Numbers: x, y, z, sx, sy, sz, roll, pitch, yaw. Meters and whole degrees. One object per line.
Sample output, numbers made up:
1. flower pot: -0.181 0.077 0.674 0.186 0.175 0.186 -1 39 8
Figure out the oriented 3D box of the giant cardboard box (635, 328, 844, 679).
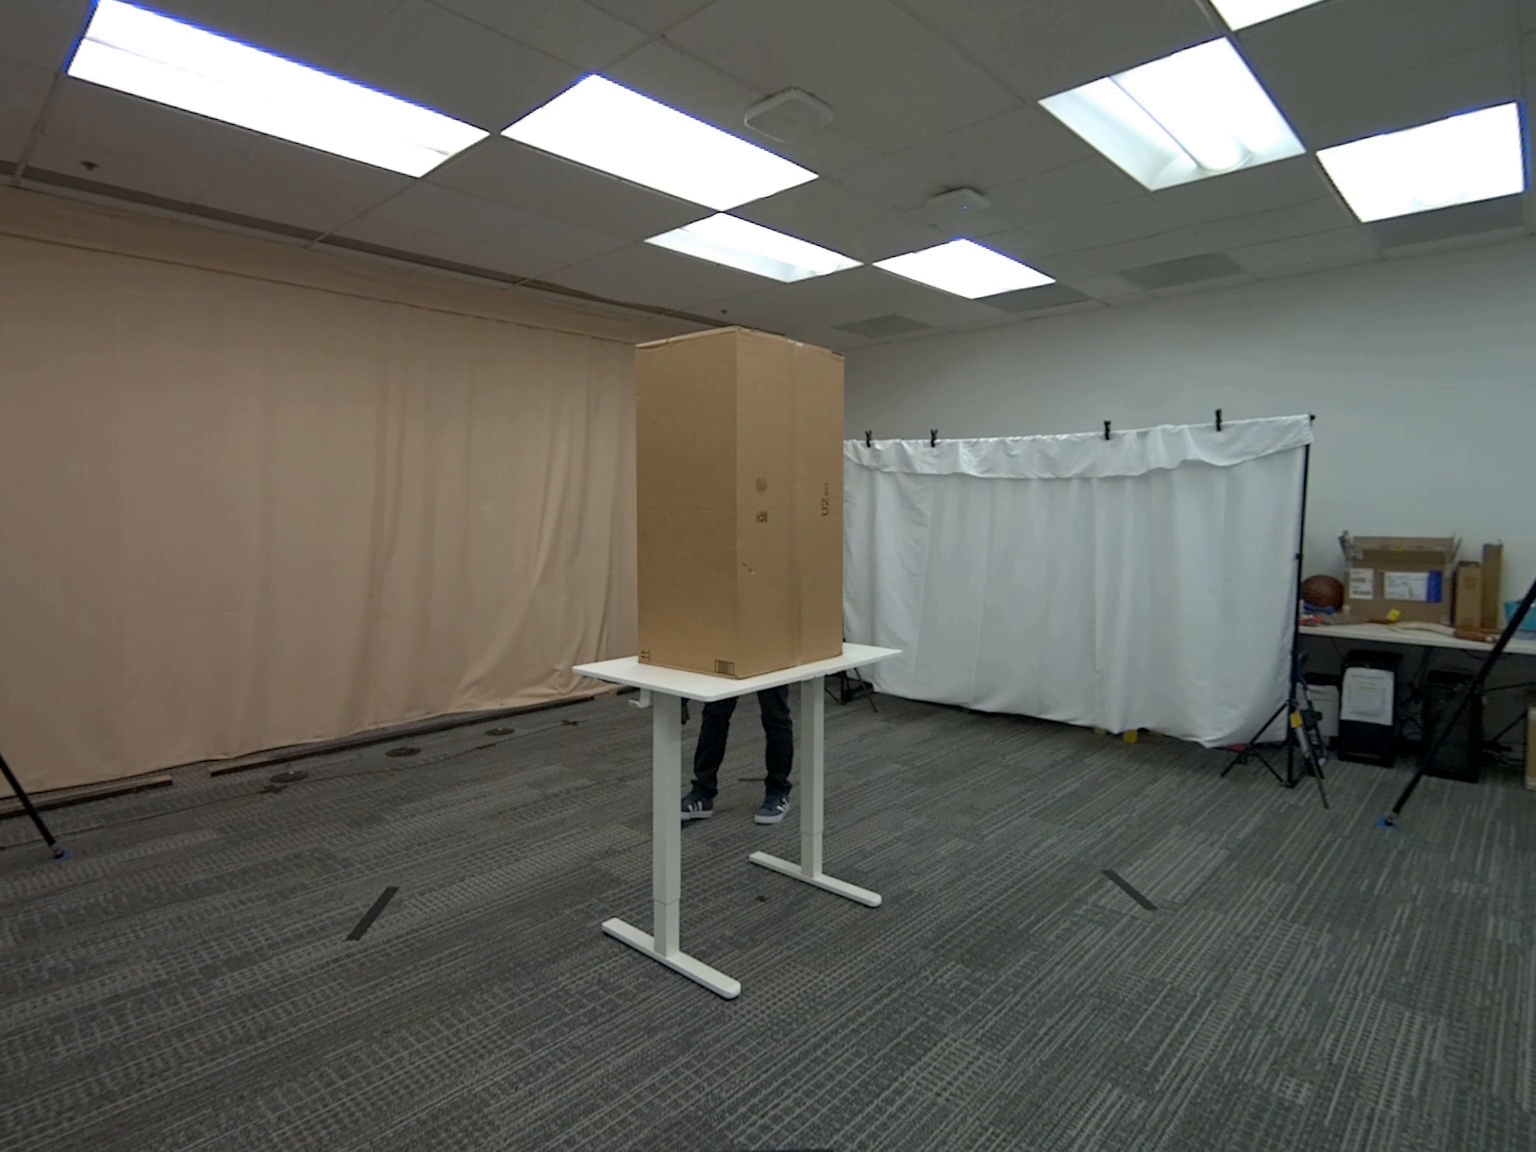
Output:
1. giant cardboard box: -0.082 -0.229 2.775 0.440 1.024 0.560 3 4 40
